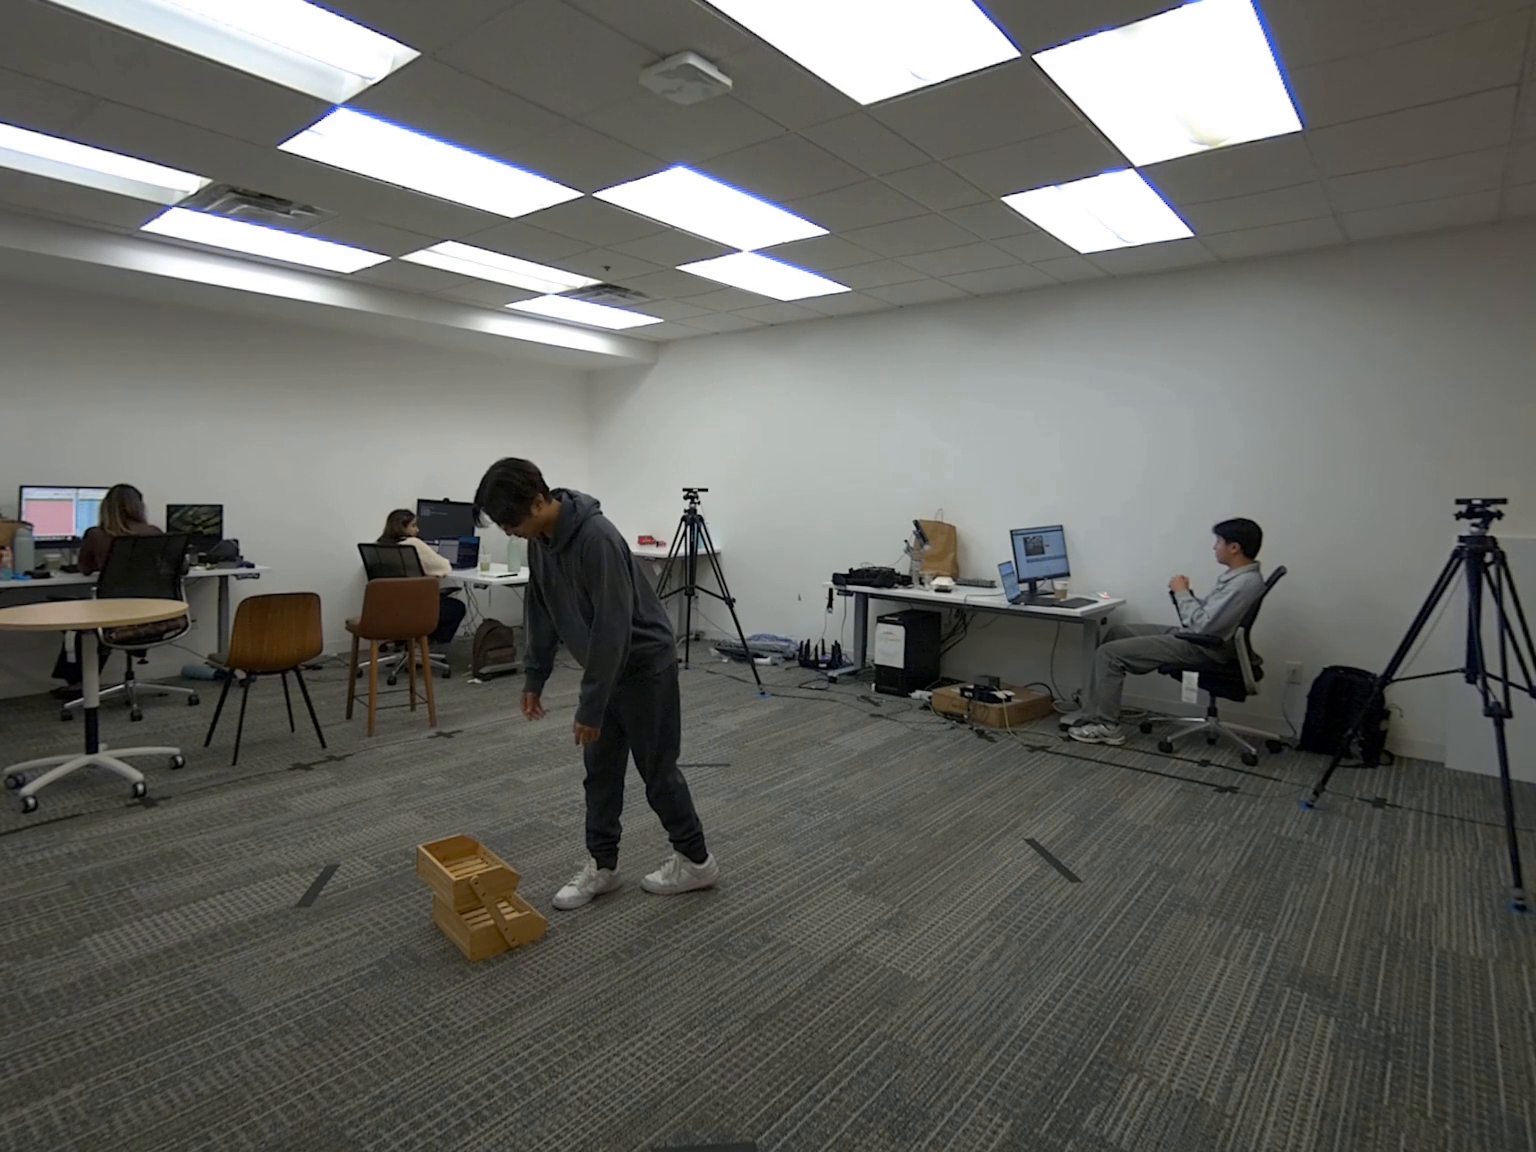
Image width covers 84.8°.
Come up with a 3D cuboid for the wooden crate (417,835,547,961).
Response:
[{"bbox_3d":[-0.899,0.969,2.643,0.293,0.272,0.335,-4,6,-41],"label":"wooden crate"}]
